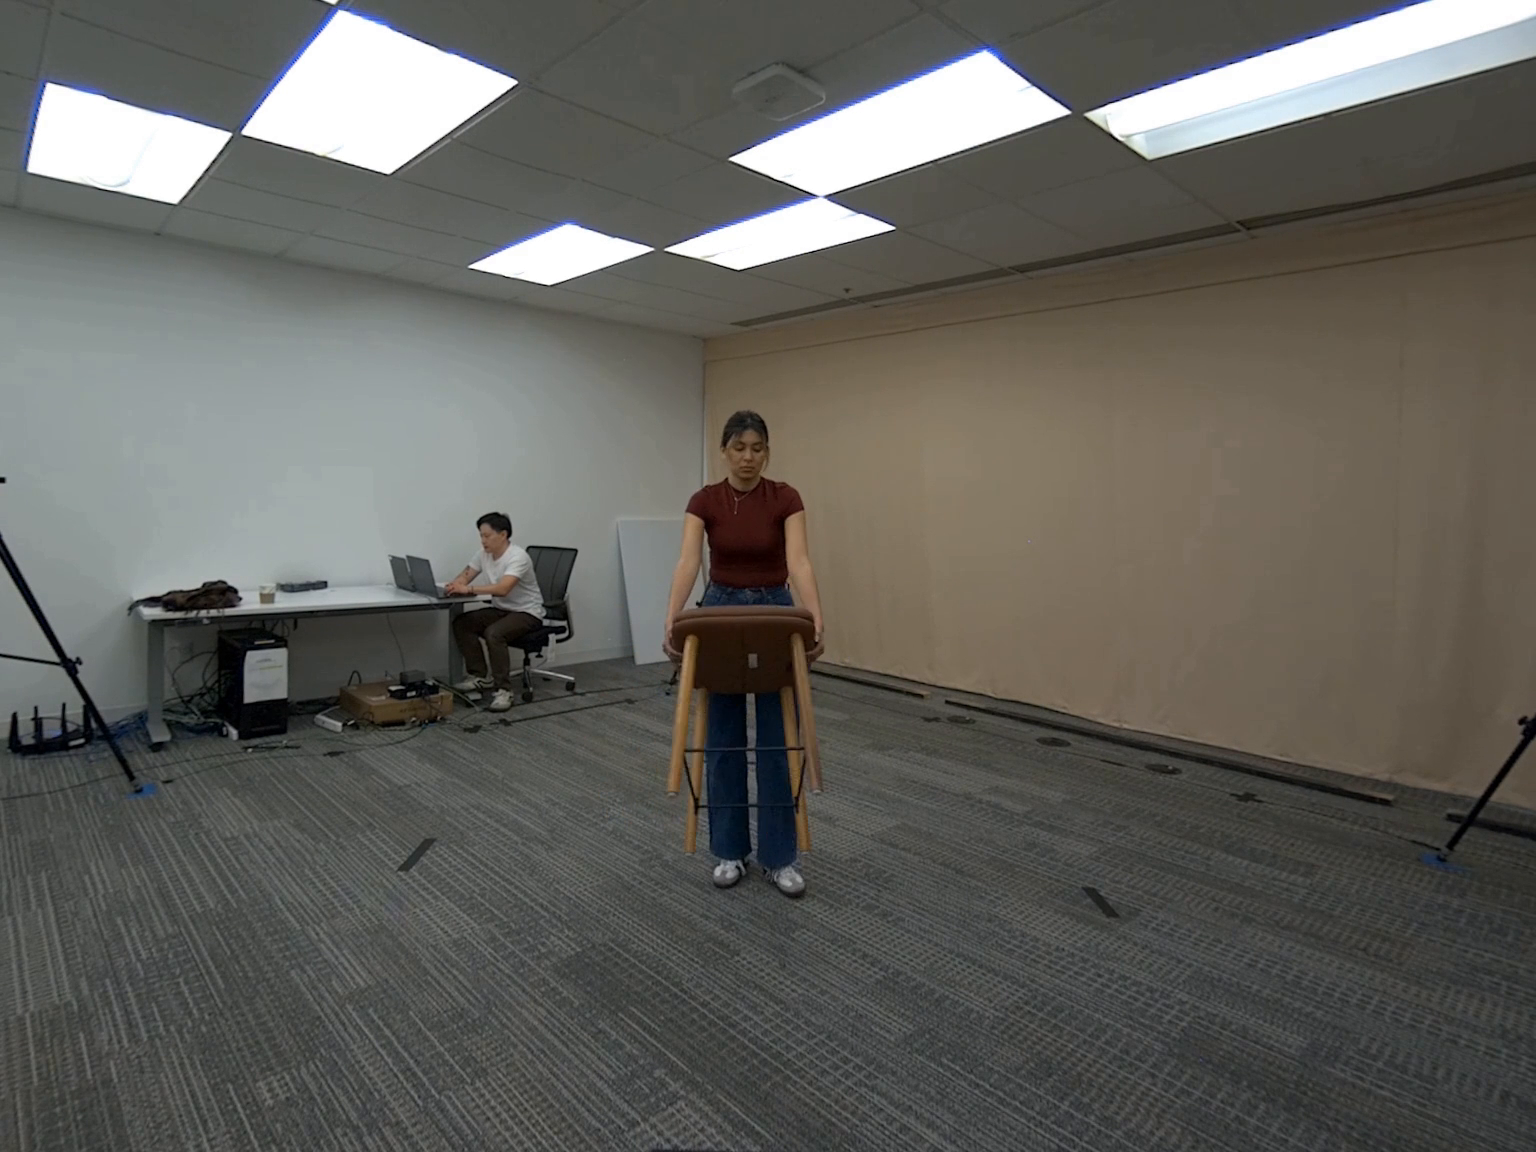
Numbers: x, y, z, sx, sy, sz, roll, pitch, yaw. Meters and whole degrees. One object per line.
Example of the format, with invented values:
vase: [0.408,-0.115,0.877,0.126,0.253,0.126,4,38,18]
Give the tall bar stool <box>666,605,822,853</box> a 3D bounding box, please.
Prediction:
tall bar stool: [-0.081,0.372,2.626,0.457,0.910,0.457,-2,-42,0]
